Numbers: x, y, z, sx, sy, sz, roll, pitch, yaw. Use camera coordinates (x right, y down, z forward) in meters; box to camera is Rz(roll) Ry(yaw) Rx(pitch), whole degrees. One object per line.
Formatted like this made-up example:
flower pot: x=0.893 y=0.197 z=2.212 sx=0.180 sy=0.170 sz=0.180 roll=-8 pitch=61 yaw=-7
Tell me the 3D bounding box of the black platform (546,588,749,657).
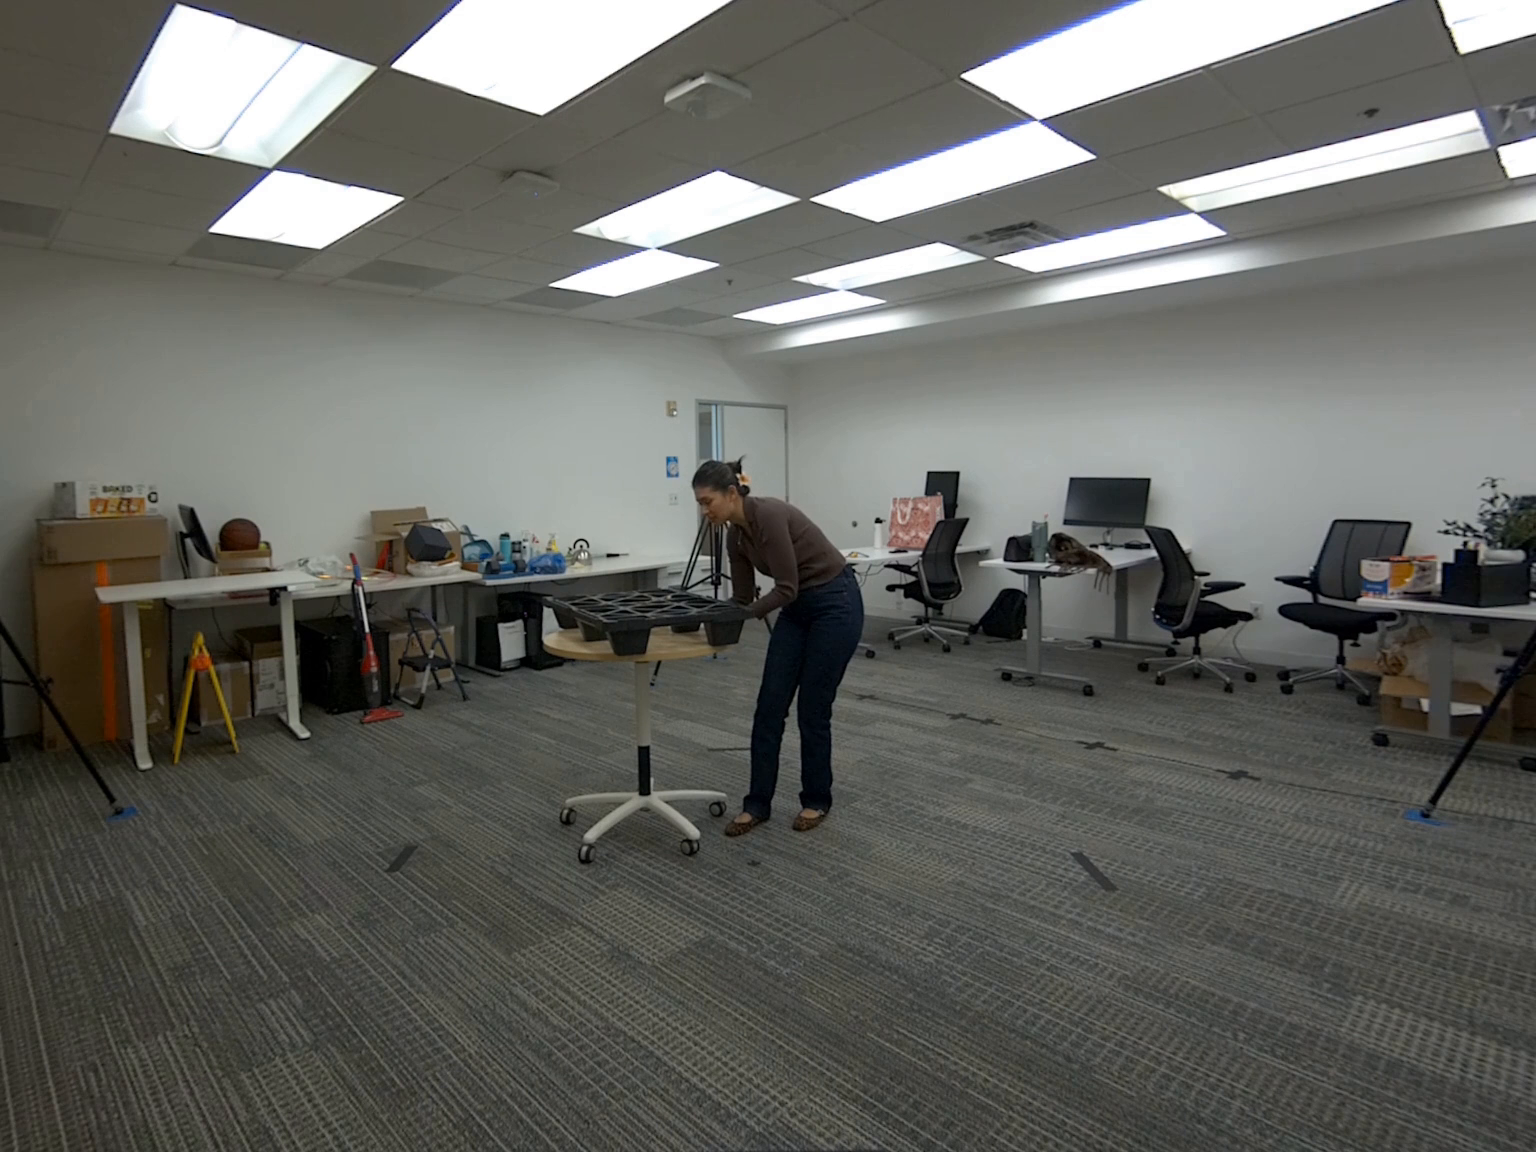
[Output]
black platform: x=-0.503 y=0.171 z=3.392 sx=0.591 sy=0.143 sz=0.827 roll=-3 pitch=6 yaw=-29
